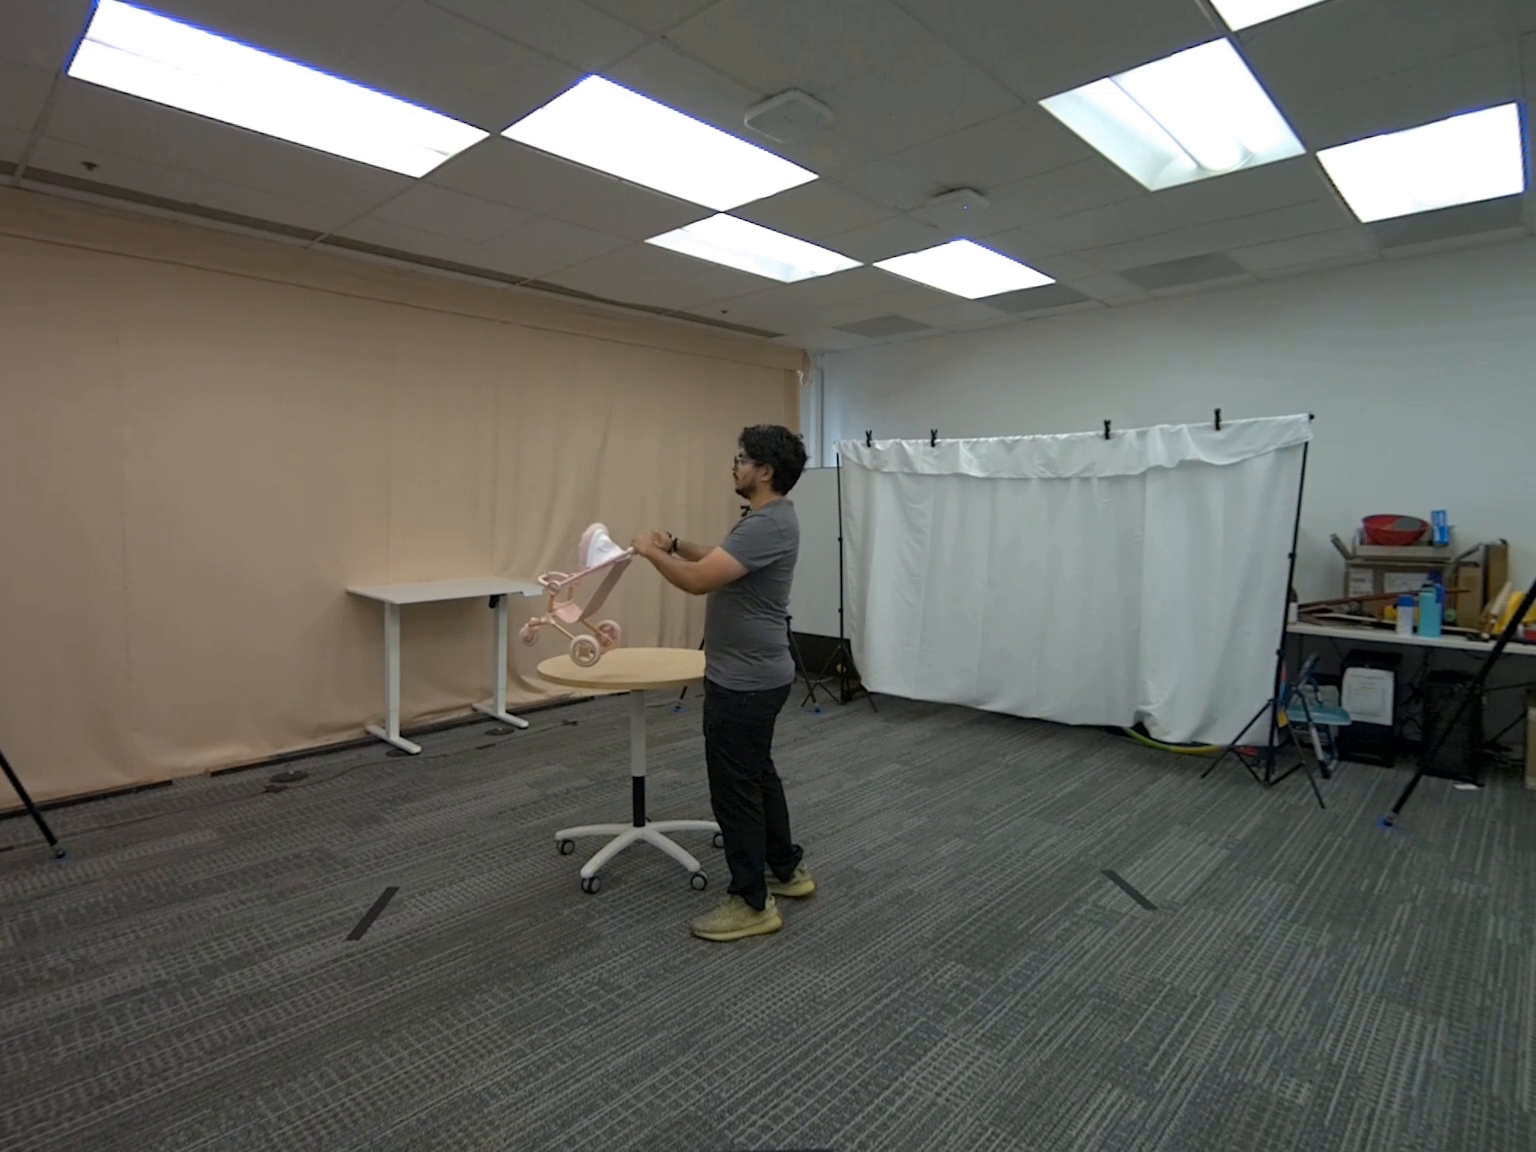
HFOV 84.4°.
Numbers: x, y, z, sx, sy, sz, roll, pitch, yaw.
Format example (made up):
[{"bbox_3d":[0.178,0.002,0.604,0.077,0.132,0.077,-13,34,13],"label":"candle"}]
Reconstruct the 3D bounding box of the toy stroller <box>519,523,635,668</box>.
[{"bbox_3d":[-0.638,0.056,2.925,0.347,0.534,0.277,24,9,12],"label":"toy stroller"}]
